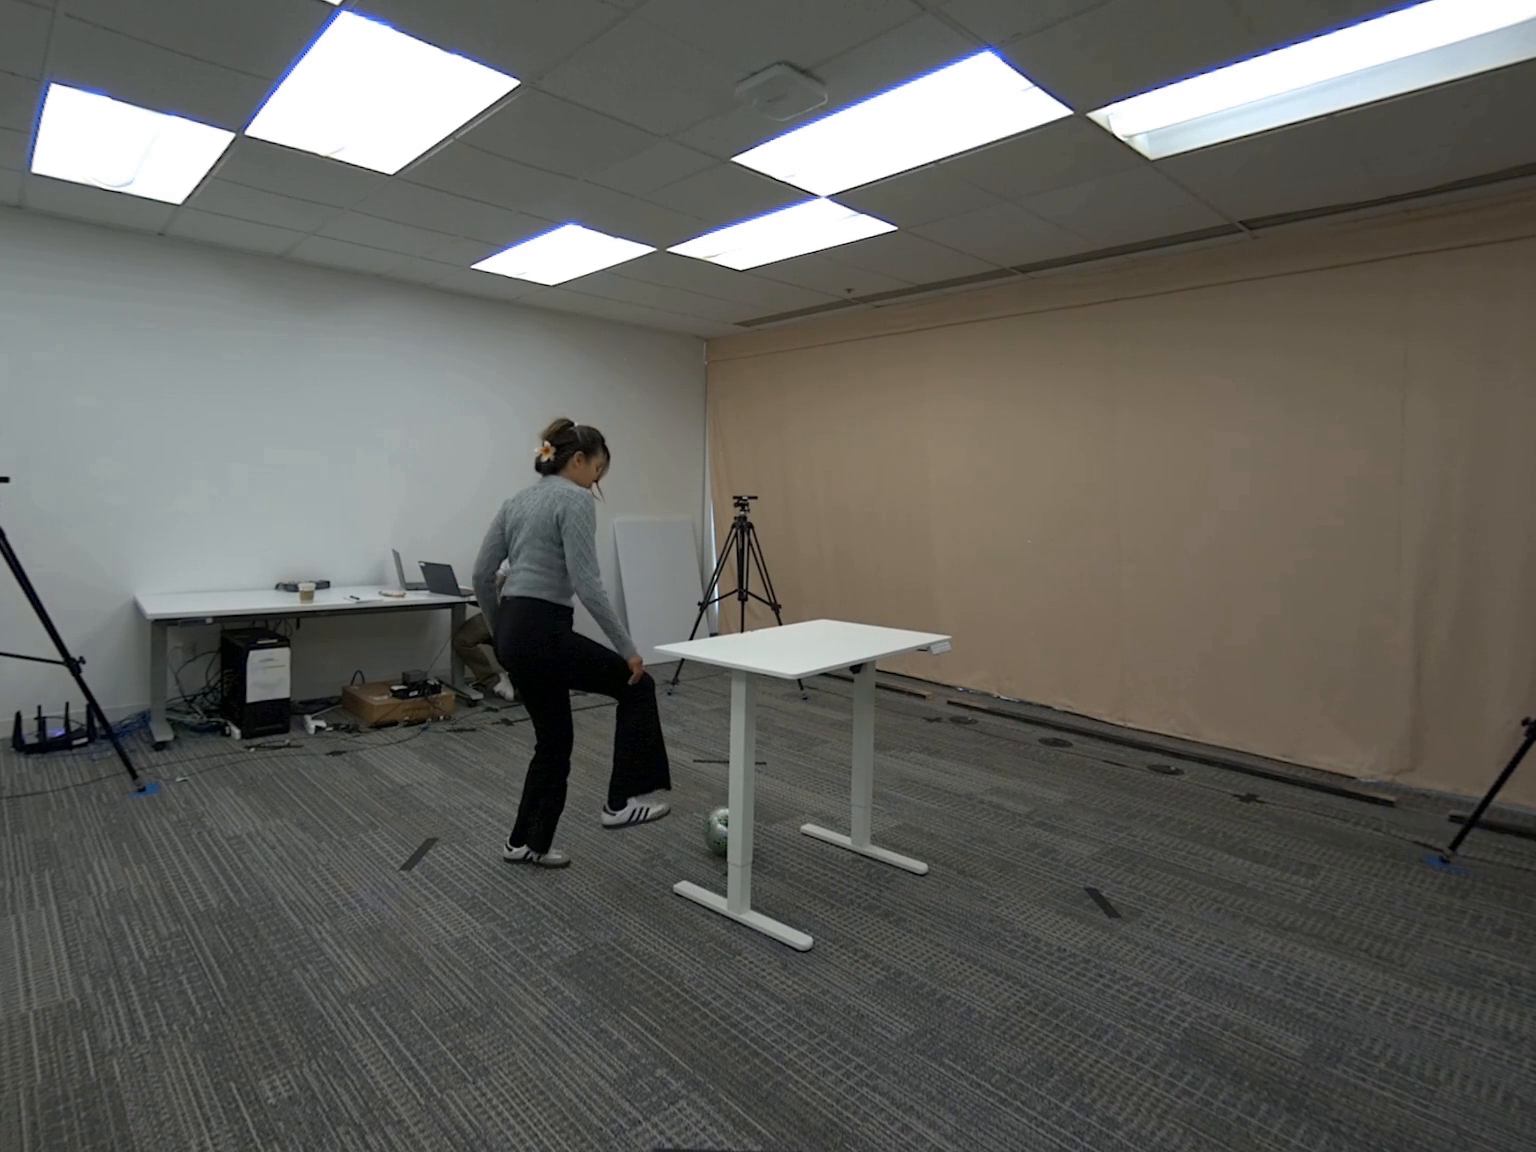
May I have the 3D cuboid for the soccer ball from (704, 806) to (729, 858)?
[{"bbox_3d":[-0.173,0.992,3.284,0.187,0.187,0.188,1,4,-1],"label":"soccer ball"}]
